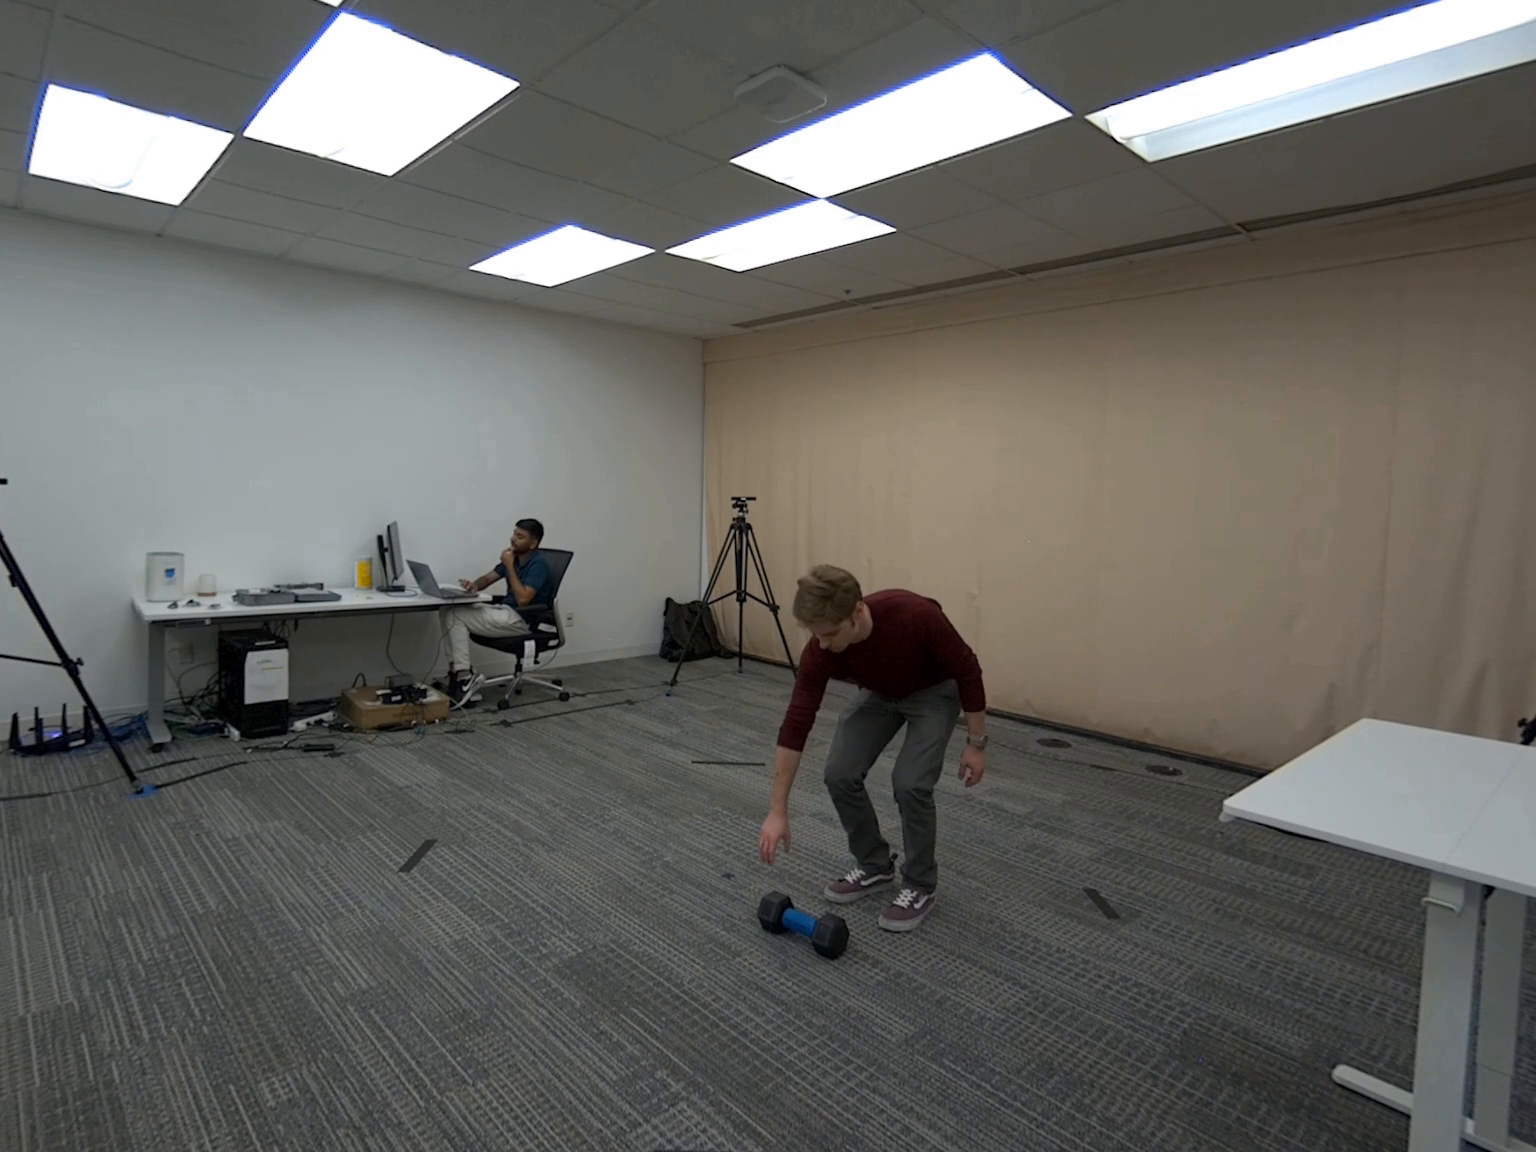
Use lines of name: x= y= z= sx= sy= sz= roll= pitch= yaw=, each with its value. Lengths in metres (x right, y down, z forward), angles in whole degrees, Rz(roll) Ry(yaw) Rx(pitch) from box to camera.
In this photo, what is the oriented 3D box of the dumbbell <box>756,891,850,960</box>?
dumbbell: x=0.102 y=1.100 z=2.655 sx=0.301 sy=0.124 sz=0.105 roll=5 pitch=-23 yaw=40
